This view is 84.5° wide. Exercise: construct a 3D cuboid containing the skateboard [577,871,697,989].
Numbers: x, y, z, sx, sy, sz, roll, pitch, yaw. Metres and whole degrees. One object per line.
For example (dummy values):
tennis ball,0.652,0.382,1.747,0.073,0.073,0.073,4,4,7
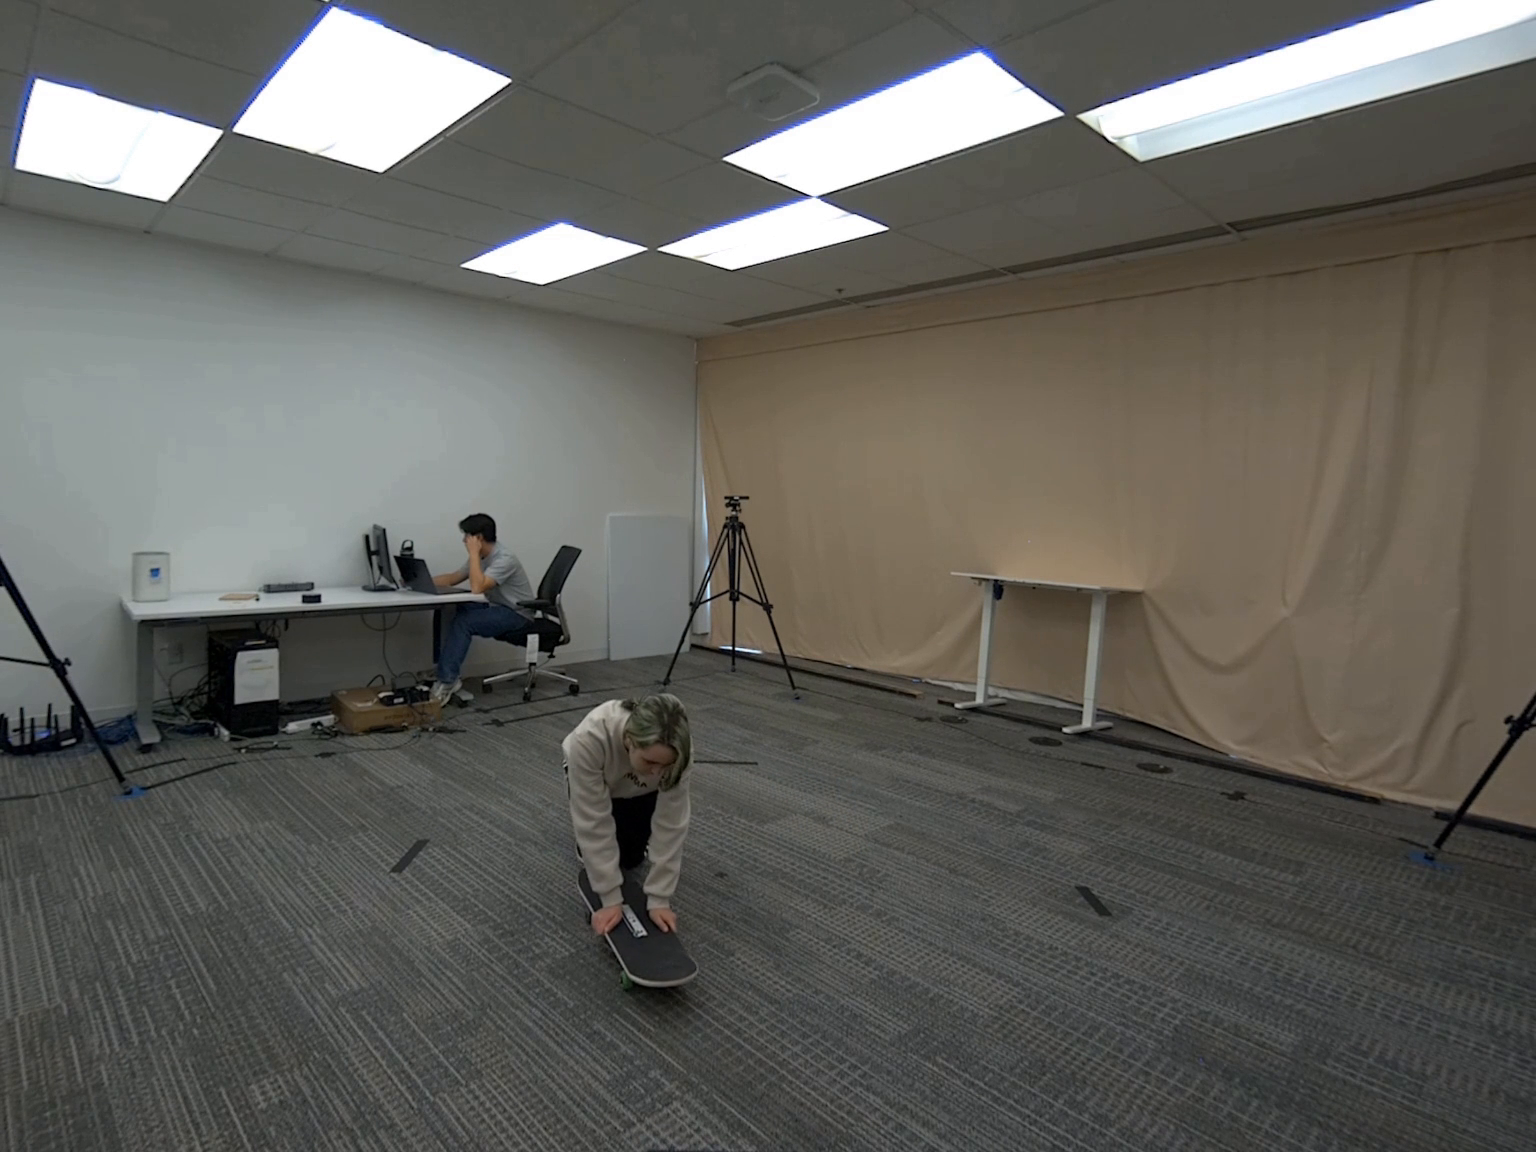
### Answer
skateboard,-0.431,1.091,2.588,0.190,0.110,0.802,0,5,-25
